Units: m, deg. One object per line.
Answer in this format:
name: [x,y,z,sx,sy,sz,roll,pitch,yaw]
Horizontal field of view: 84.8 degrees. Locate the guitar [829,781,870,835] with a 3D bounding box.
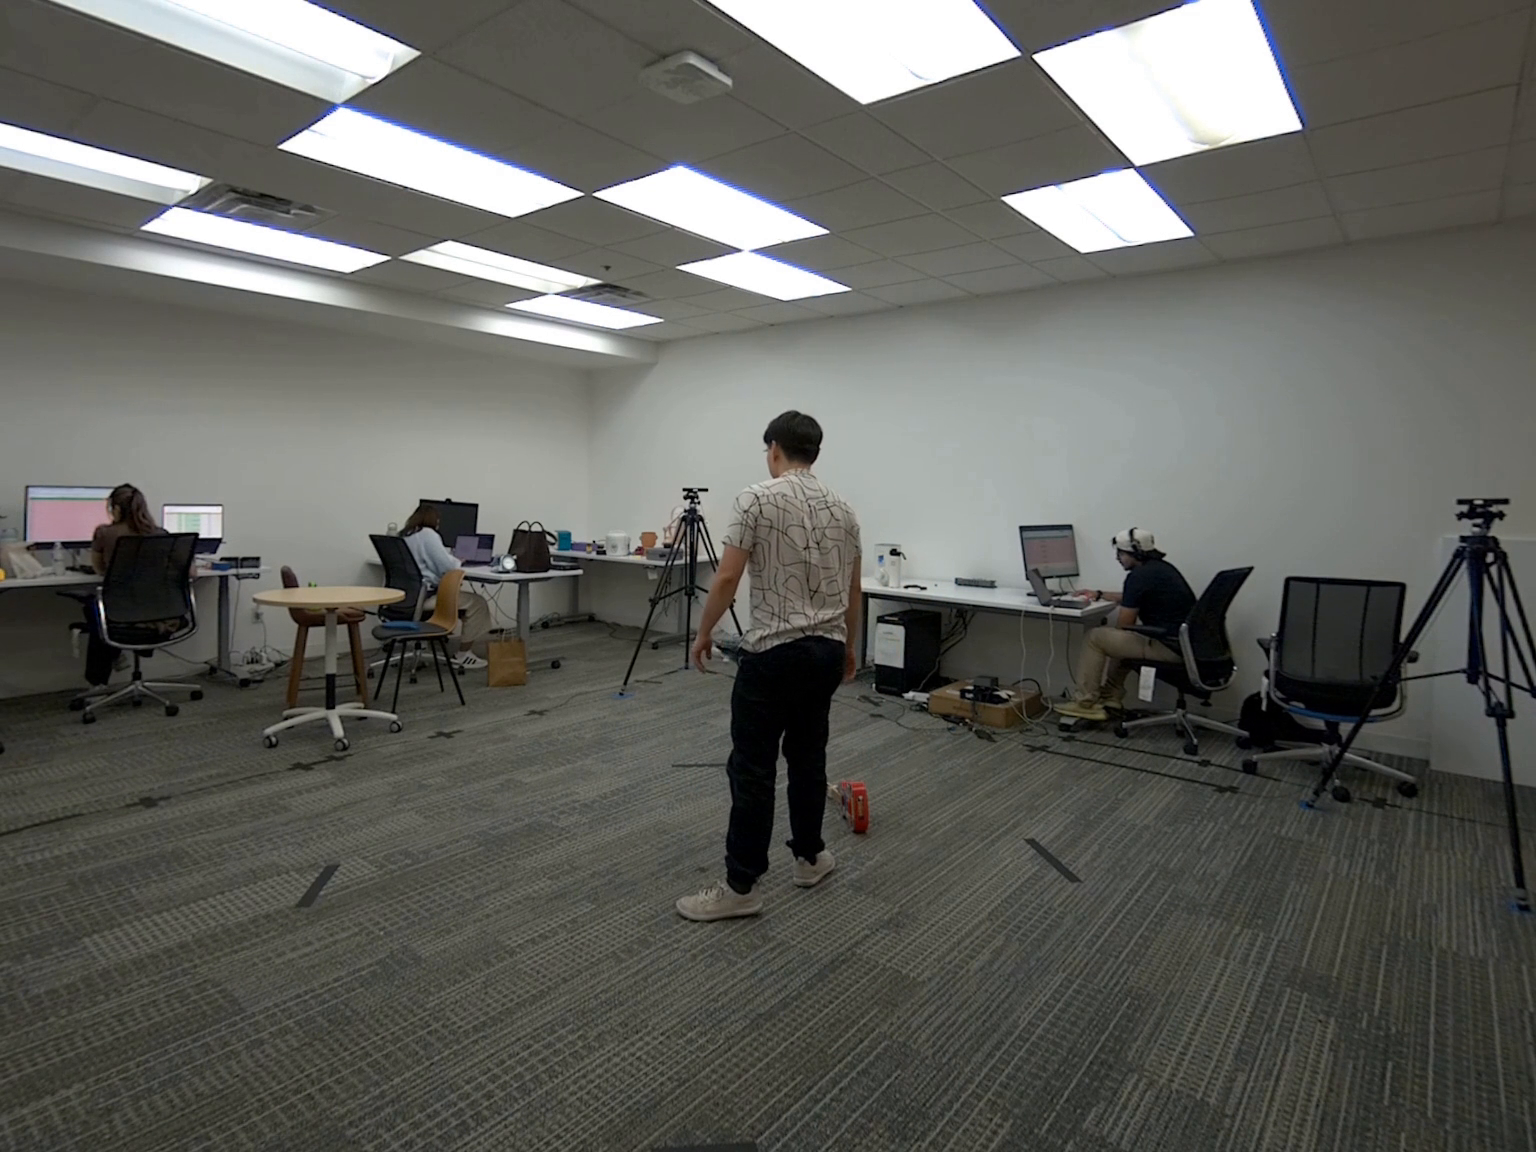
guitar: [0.325,0.937,3.694,0.070,0.192,0.504,-4,5,-10]
